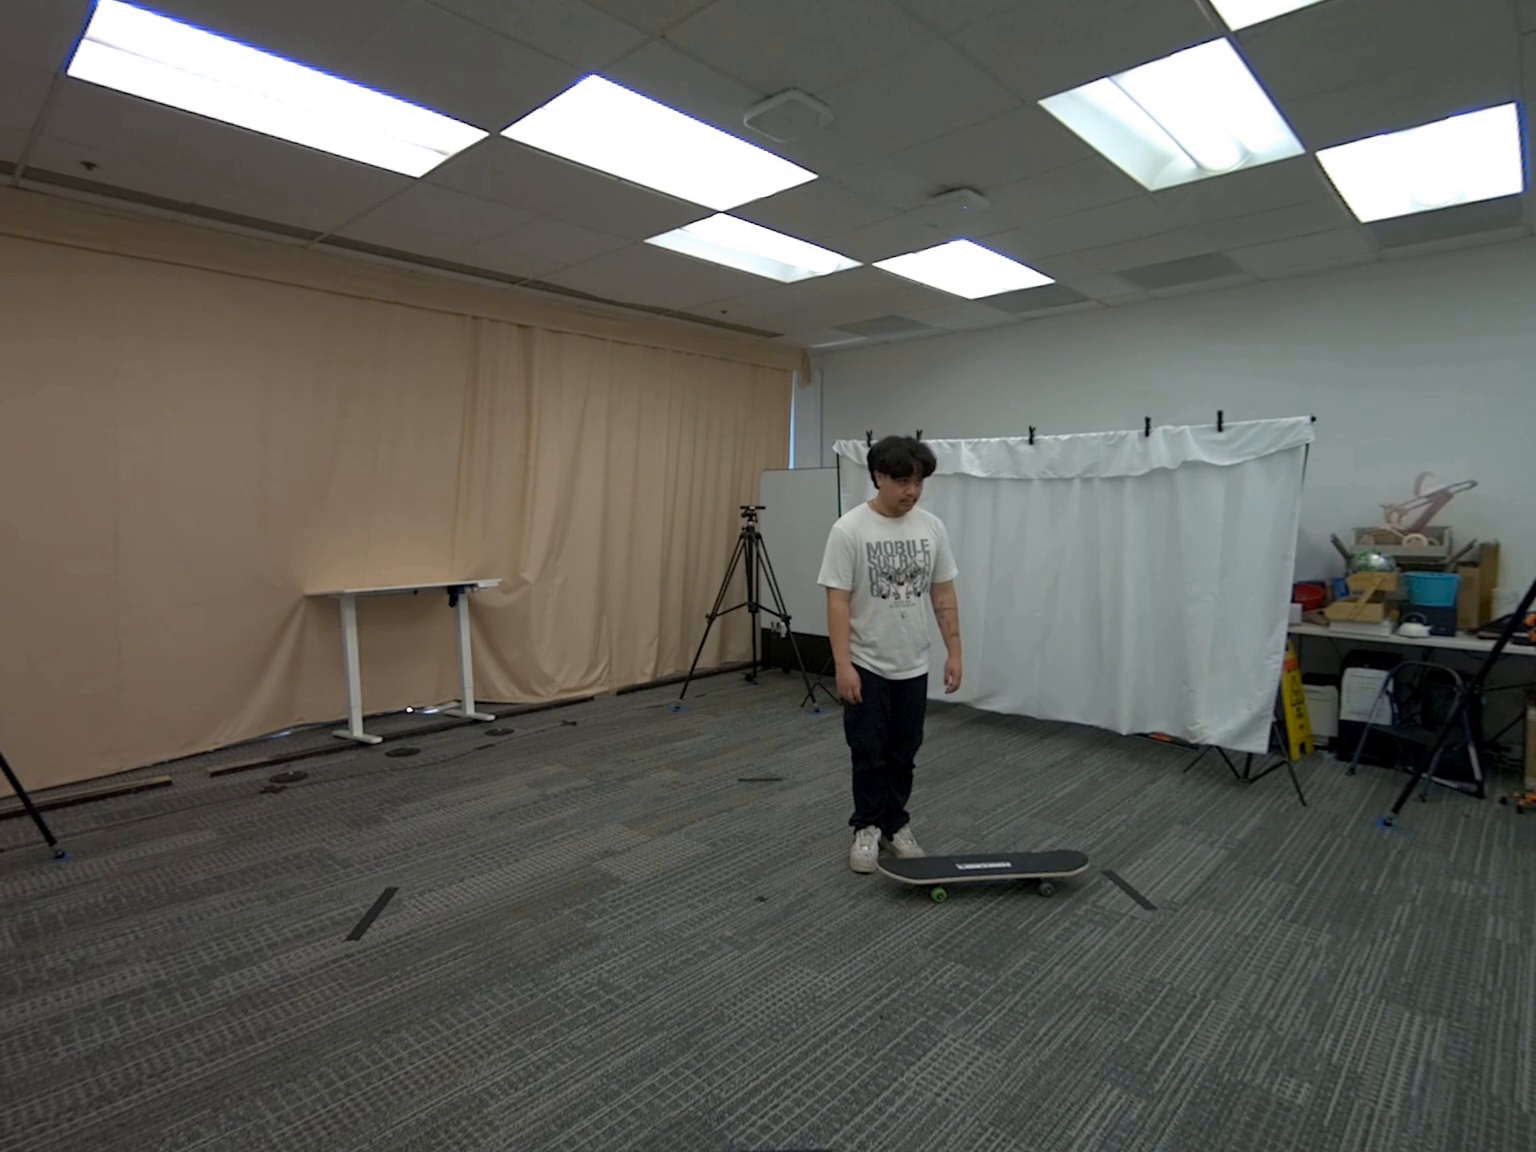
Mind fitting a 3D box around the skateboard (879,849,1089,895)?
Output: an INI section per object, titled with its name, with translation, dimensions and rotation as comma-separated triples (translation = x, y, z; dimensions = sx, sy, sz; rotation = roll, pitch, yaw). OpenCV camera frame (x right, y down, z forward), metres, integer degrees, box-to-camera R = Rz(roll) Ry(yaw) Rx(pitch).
[skateboard]
translation = 0.783, 1.079, 3.047
dimensions = 0.780, 0.110, 0.195
rotation = -1, 4, -7
